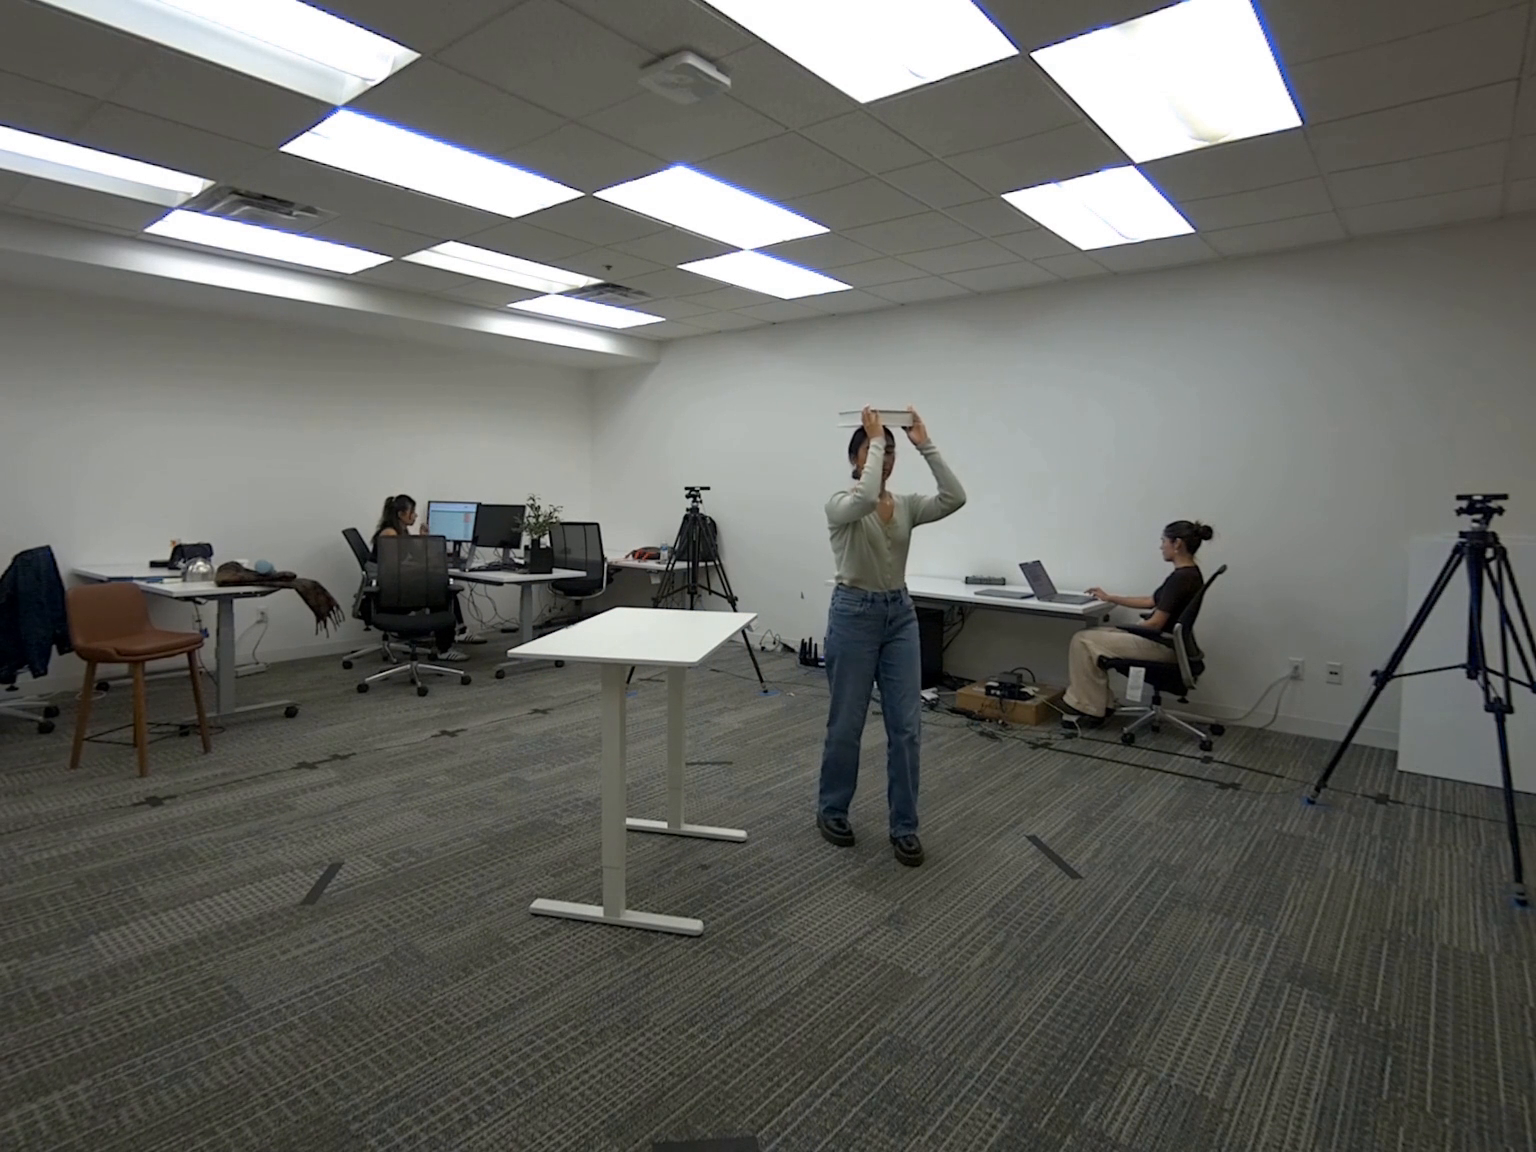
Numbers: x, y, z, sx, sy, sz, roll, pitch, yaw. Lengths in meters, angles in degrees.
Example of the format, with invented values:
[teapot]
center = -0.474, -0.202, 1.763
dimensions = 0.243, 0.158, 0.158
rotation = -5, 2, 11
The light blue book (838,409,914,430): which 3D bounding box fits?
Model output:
[light blue book]
center = 0.401, -0.617, 3.302
dimensions = 0.187, 0.059, 0.267
rotation = 3, 6, -19
